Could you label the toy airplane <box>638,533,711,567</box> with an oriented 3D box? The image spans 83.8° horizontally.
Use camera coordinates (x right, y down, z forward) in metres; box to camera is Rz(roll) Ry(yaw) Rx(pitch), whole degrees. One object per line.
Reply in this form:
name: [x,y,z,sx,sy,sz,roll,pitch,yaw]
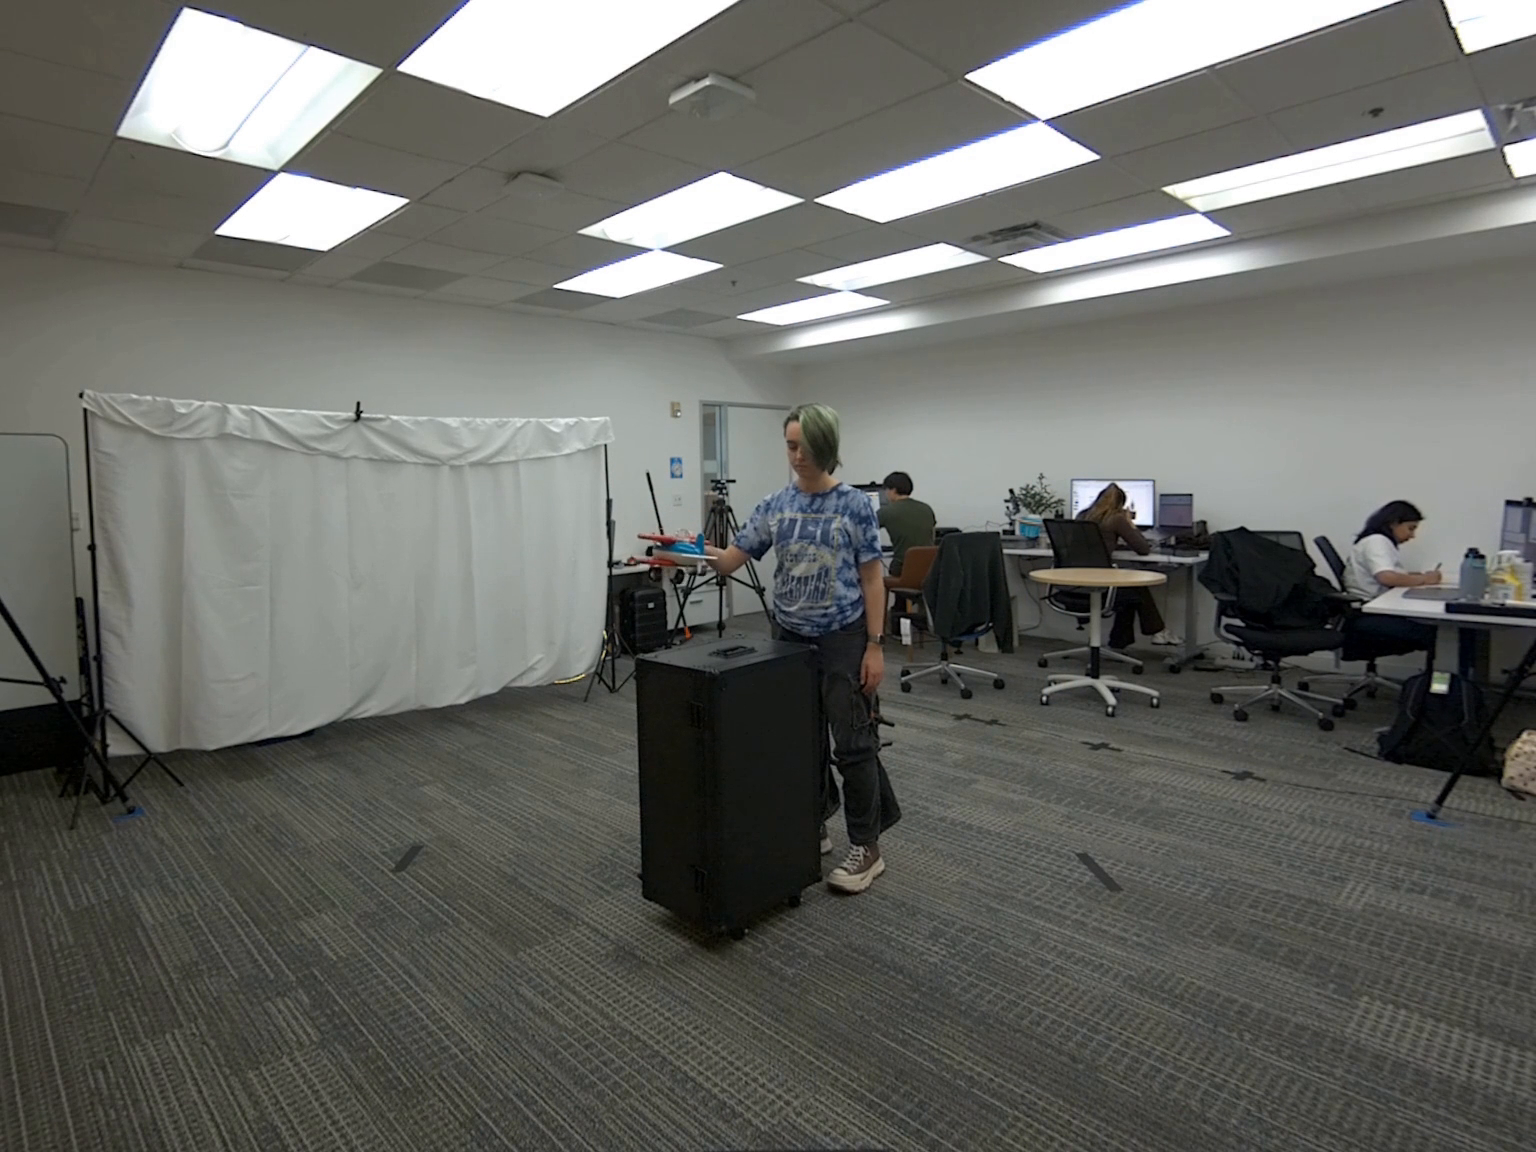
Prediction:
toy airplane: [-0.263,-0.060,2.721,0.264,0.158,0.244,-7,-10,24]
